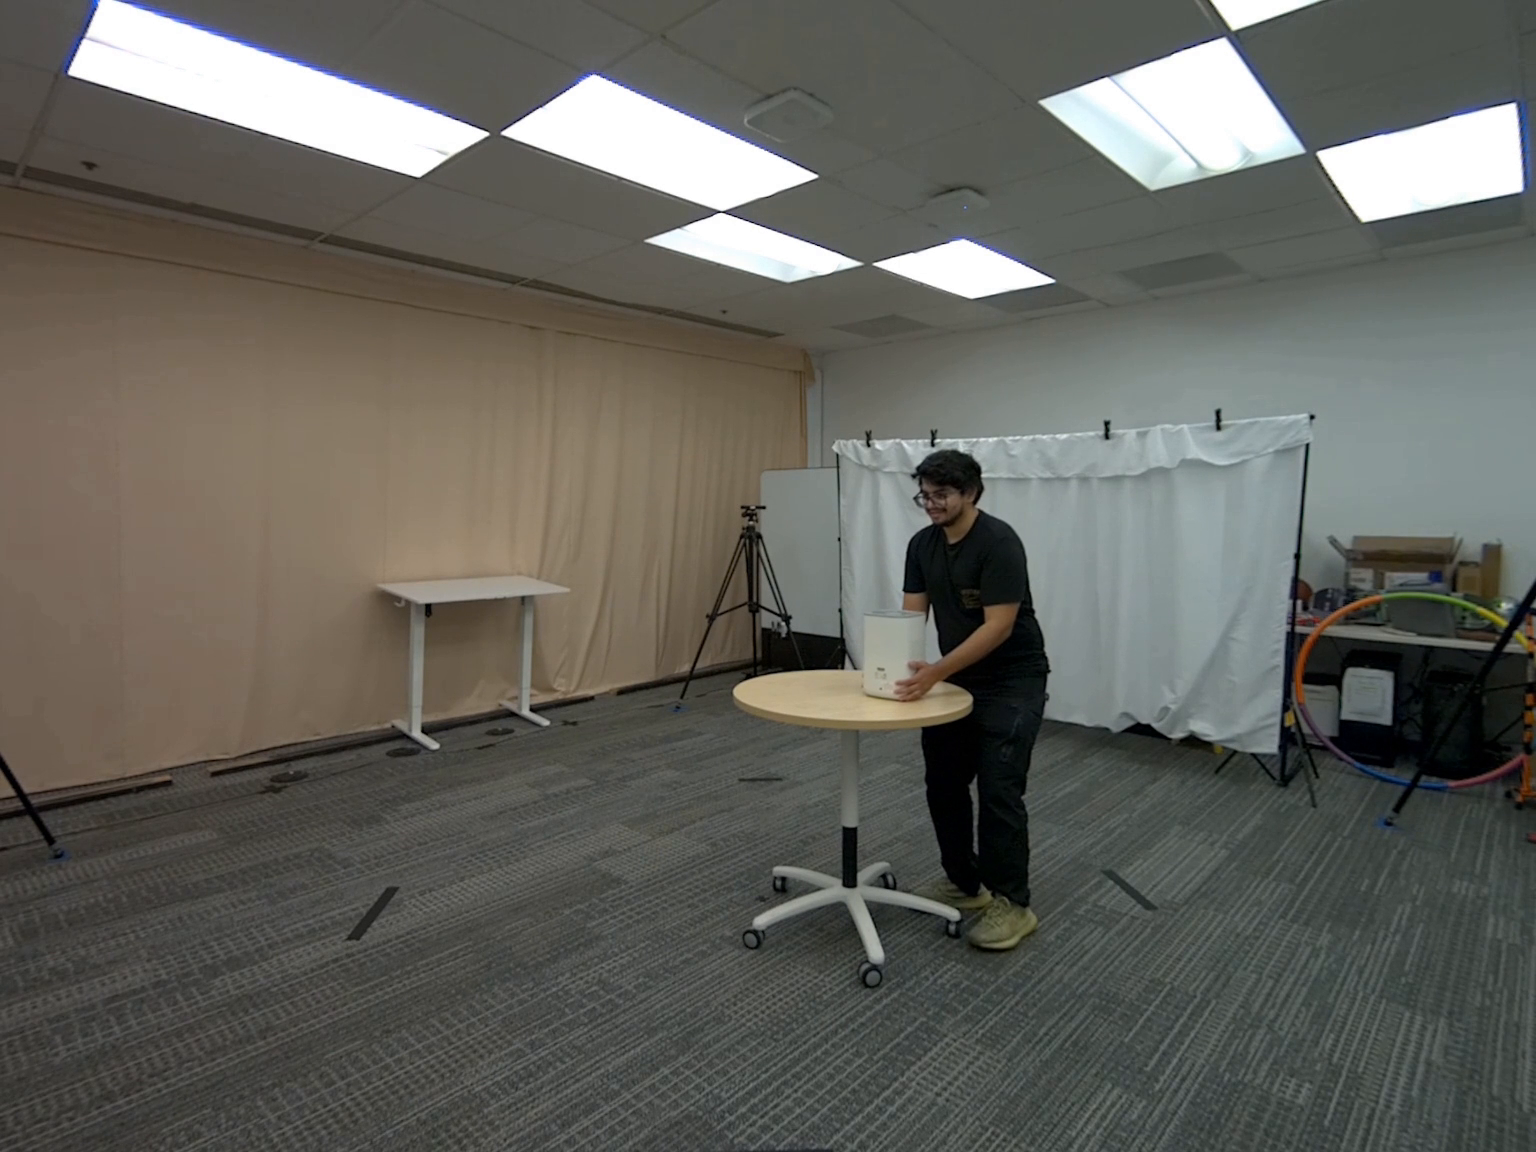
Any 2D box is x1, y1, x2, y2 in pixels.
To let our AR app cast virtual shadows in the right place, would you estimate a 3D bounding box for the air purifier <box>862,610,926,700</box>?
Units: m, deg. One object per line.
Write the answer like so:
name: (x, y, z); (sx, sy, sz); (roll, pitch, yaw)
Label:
air purifier: (0.412, 0.250, 2.691); (0.176, 0.265, 0.166); (2, 4, 36)
